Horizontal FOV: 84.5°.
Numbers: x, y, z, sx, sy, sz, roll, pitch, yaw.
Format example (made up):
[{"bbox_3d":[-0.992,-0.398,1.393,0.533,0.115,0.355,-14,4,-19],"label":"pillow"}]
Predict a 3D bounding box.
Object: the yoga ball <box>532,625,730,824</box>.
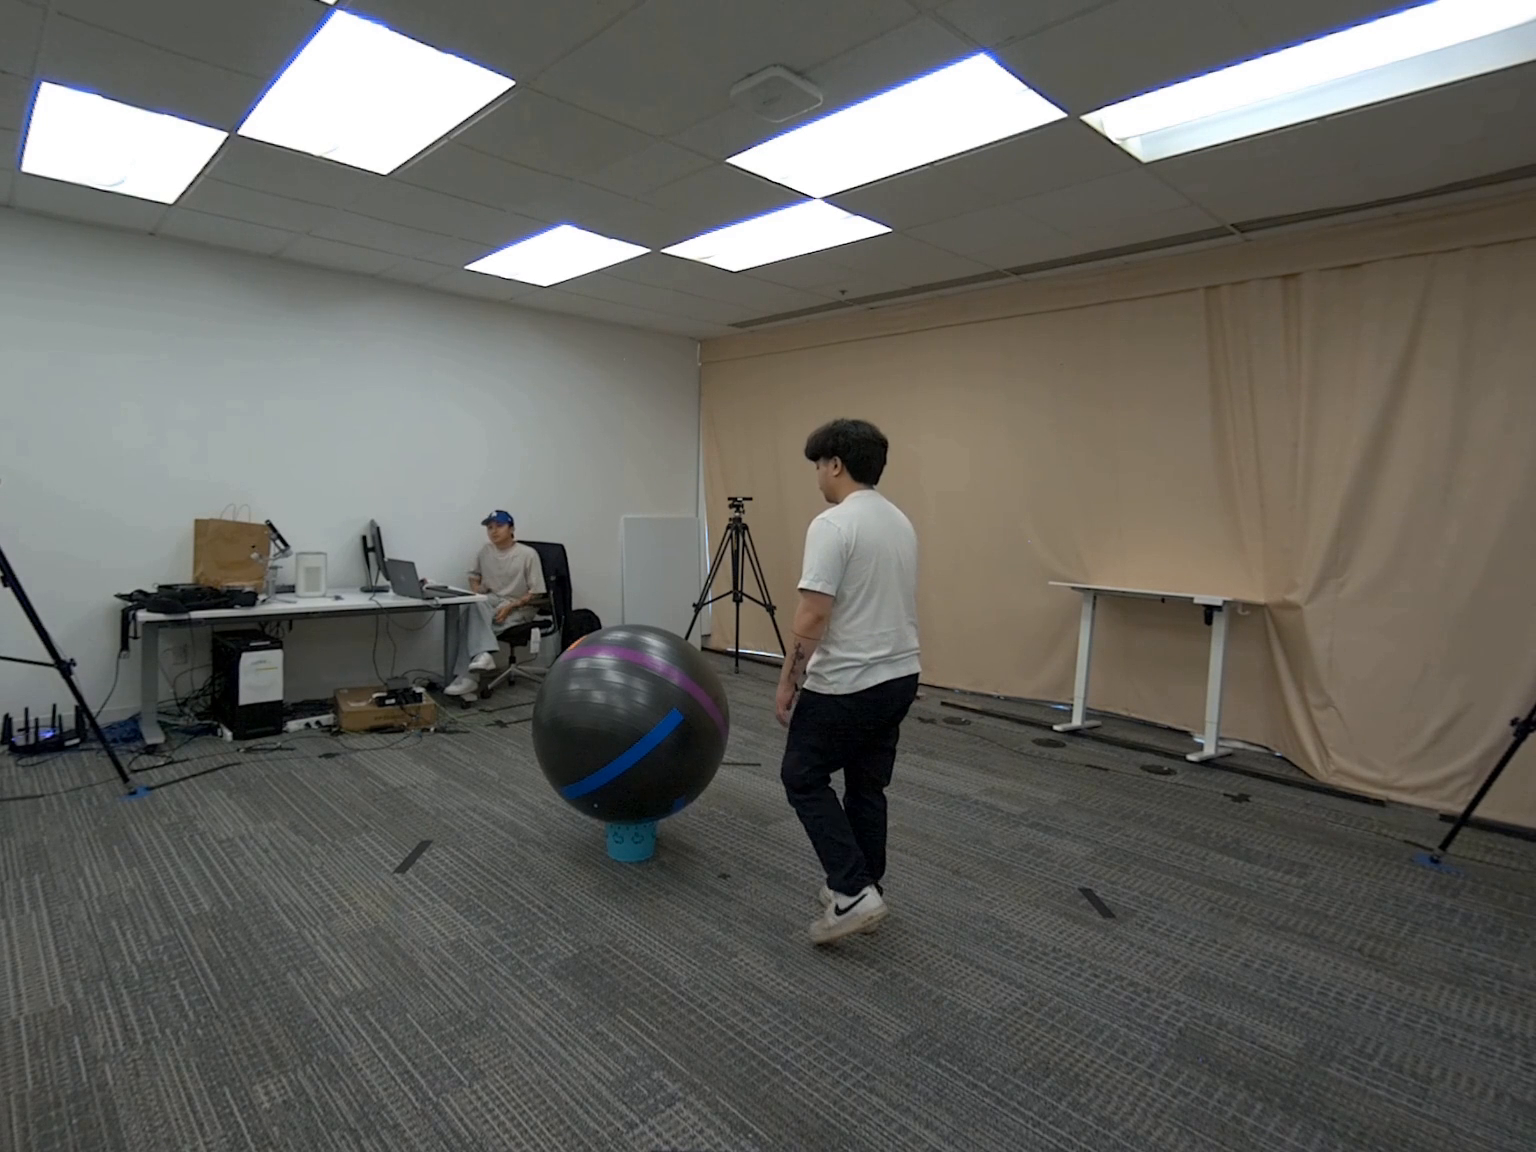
[{"bbox_3d":[-0.530,0.570,3.277,0.757,0.756,0.760,1,4,-1],"label":"yoga ball"}]
